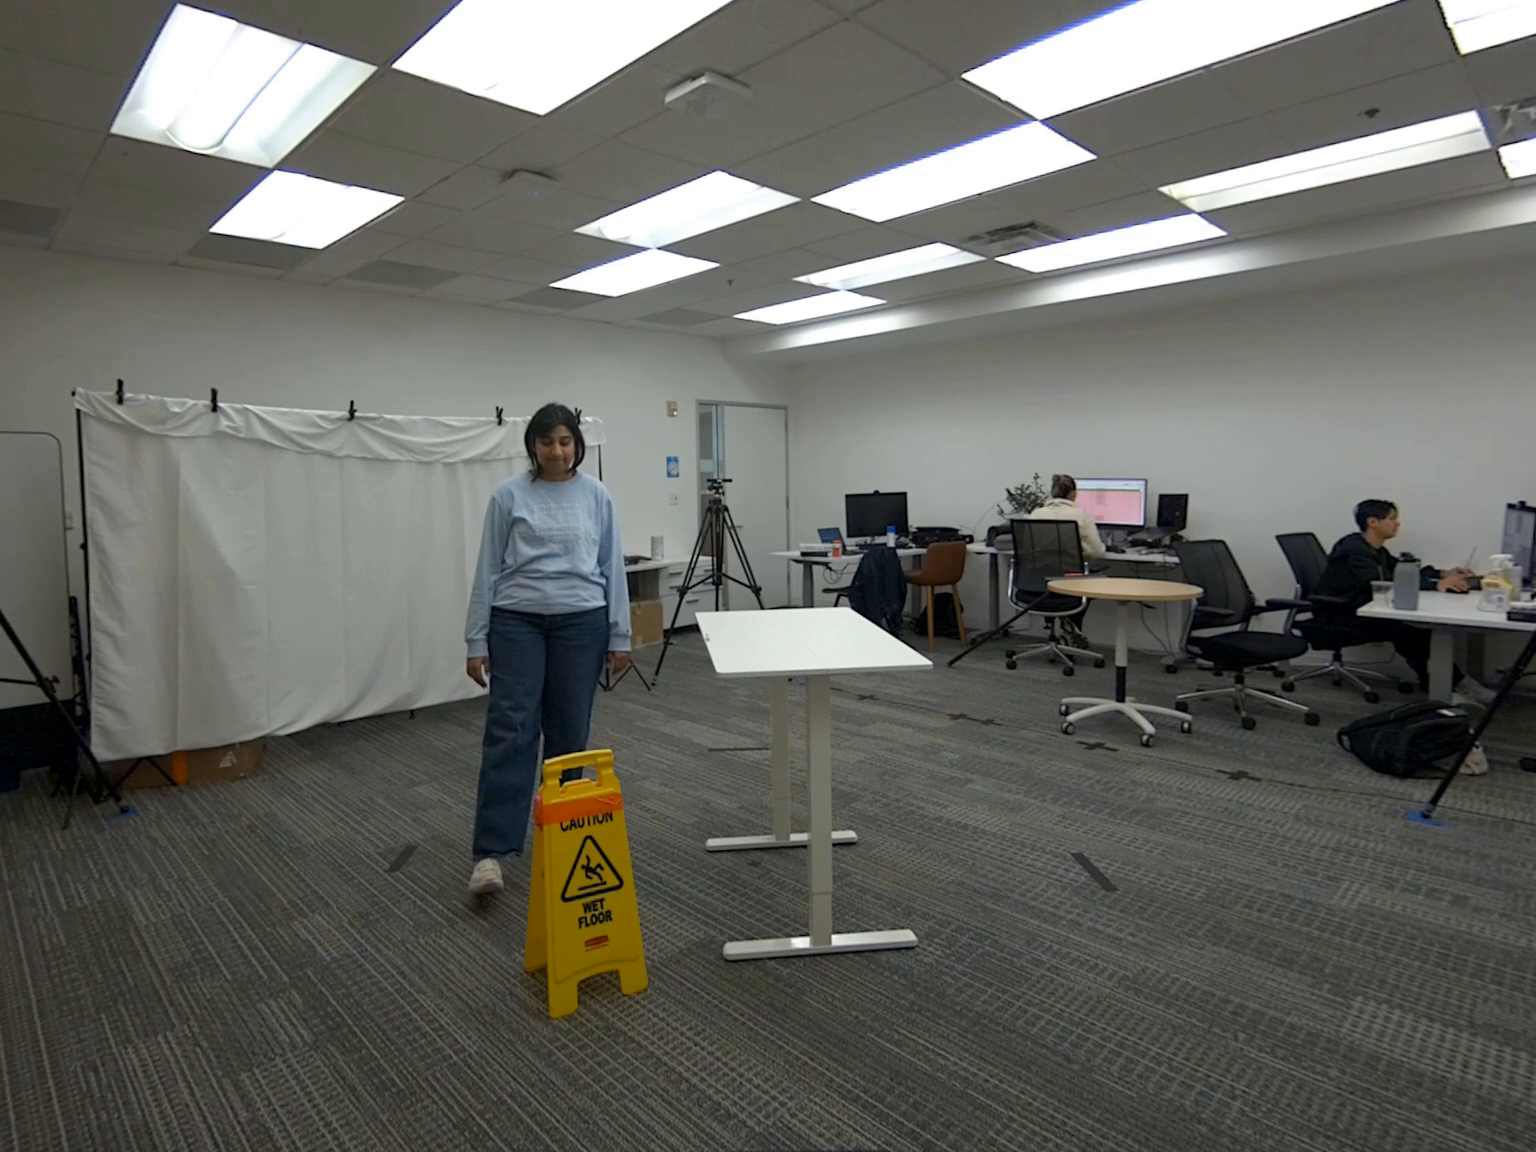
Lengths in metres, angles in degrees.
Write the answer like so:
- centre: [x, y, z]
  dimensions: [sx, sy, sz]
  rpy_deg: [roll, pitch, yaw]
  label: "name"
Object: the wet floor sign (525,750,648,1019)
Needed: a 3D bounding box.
- centre: [-0.517, 0.817, 2.383]
  dimensions: [0.276, 0.643, 0.298]
  rpy_deg: [-4, 5, -29]
  label: "wet floor sign"
